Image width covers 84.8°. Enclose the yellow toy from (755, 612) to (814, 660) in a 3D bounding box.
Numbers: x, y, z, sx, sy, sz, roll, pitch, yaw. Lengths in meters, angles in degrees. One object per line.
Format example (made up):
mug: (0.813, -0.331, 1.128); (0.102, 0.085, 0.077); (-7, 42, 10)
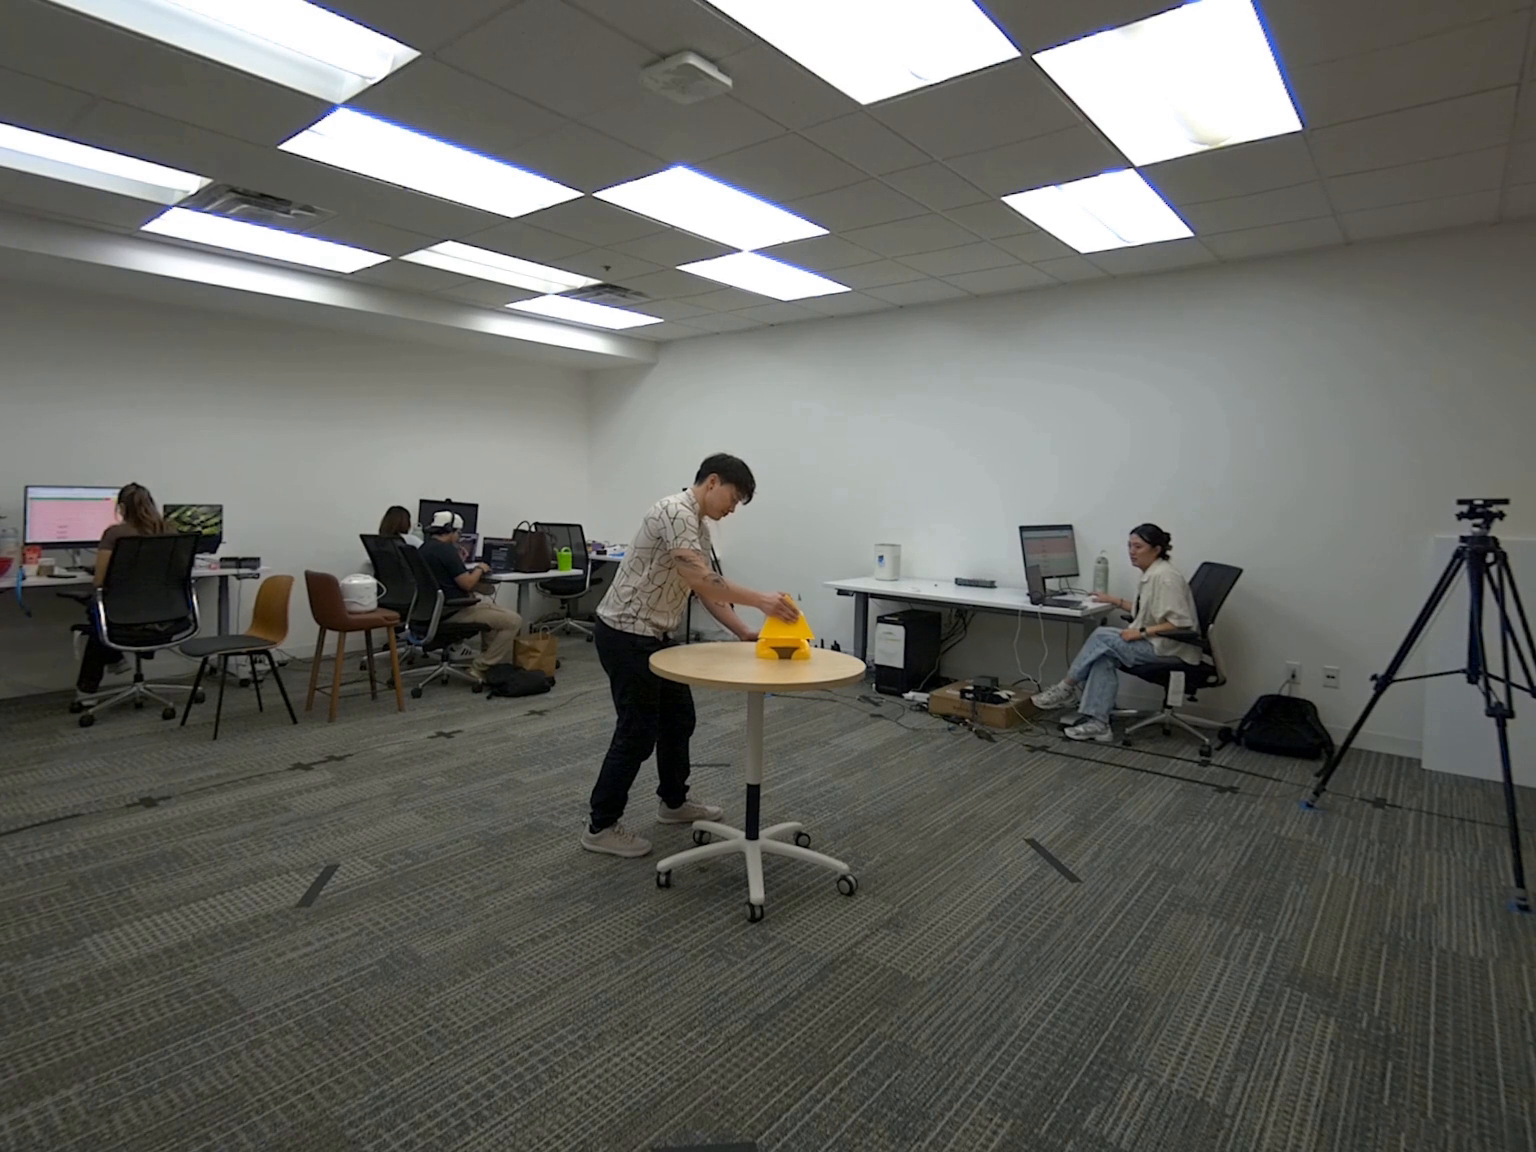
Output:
yellow toy: (0.049, 0.178, 3.133); (0.204, 0.230, 0.194); (1, 3, -4)
